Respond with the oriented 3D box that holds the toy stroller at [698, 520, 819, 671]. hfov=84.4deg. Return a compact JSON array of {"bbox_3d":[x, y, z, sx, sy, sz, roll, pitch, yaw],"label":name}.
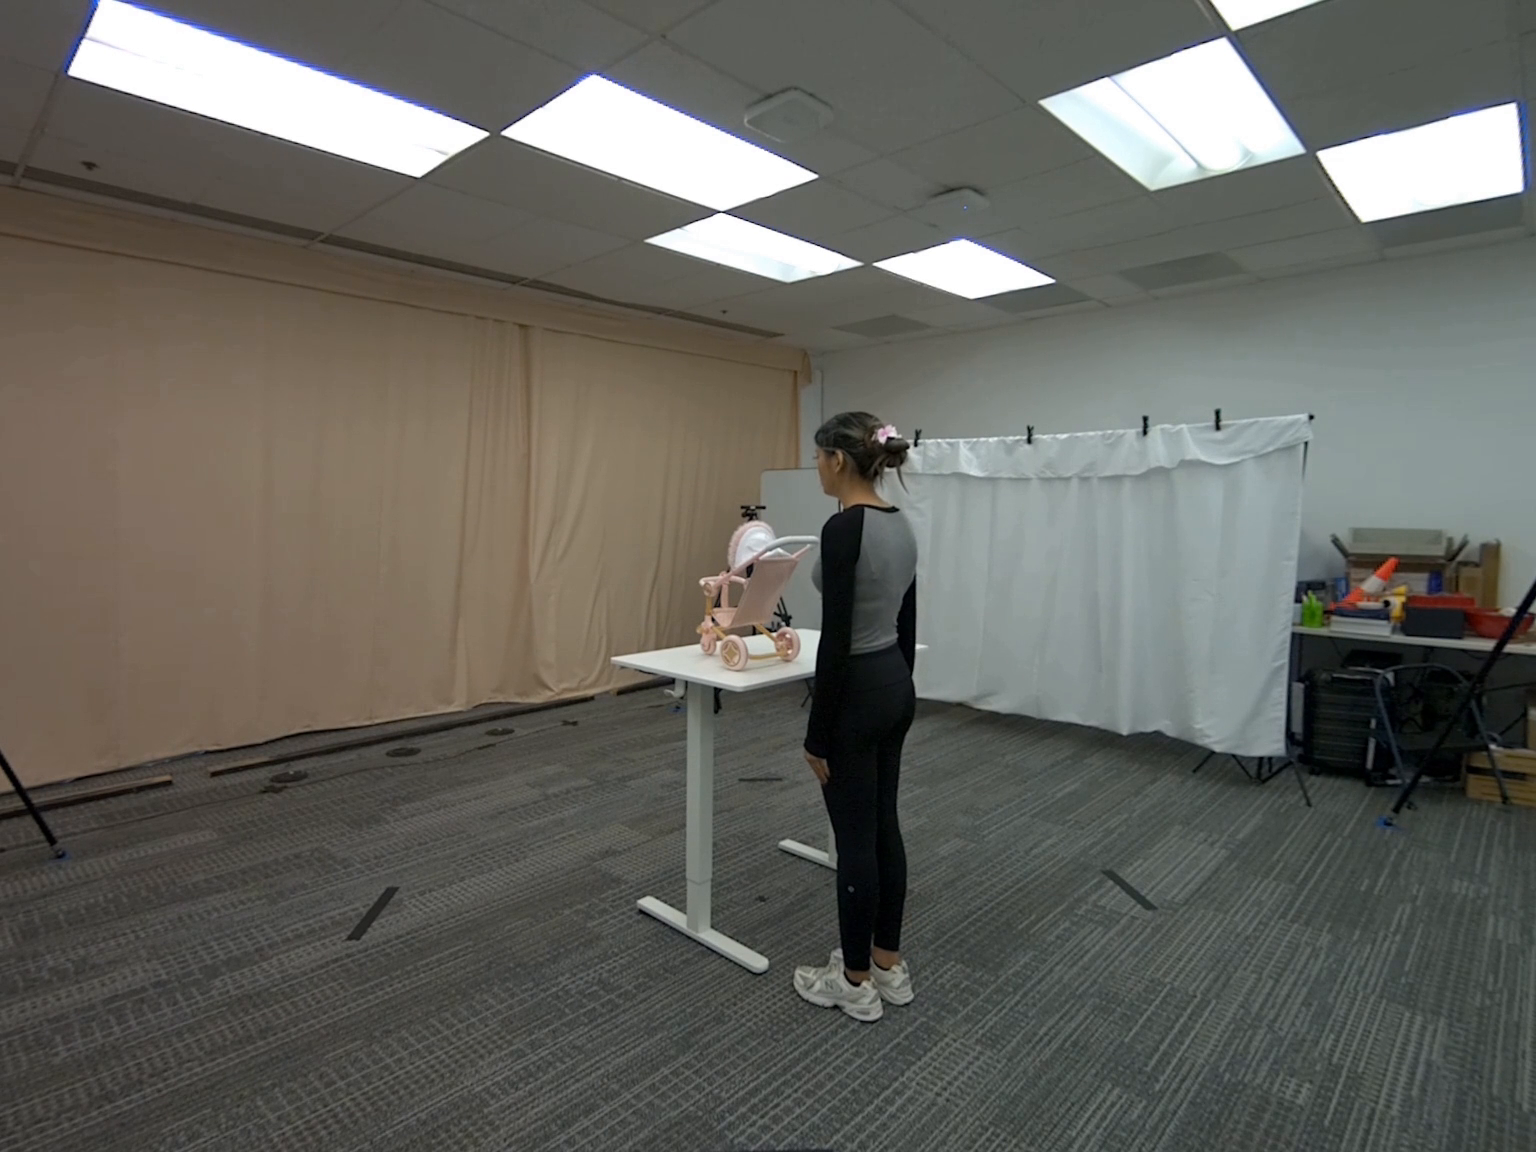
[{"bbox_3d":[-0.058,0.060,2.712,0.273,0.531,0.354,-2,22,-41],"label":"toy stroller"}]
